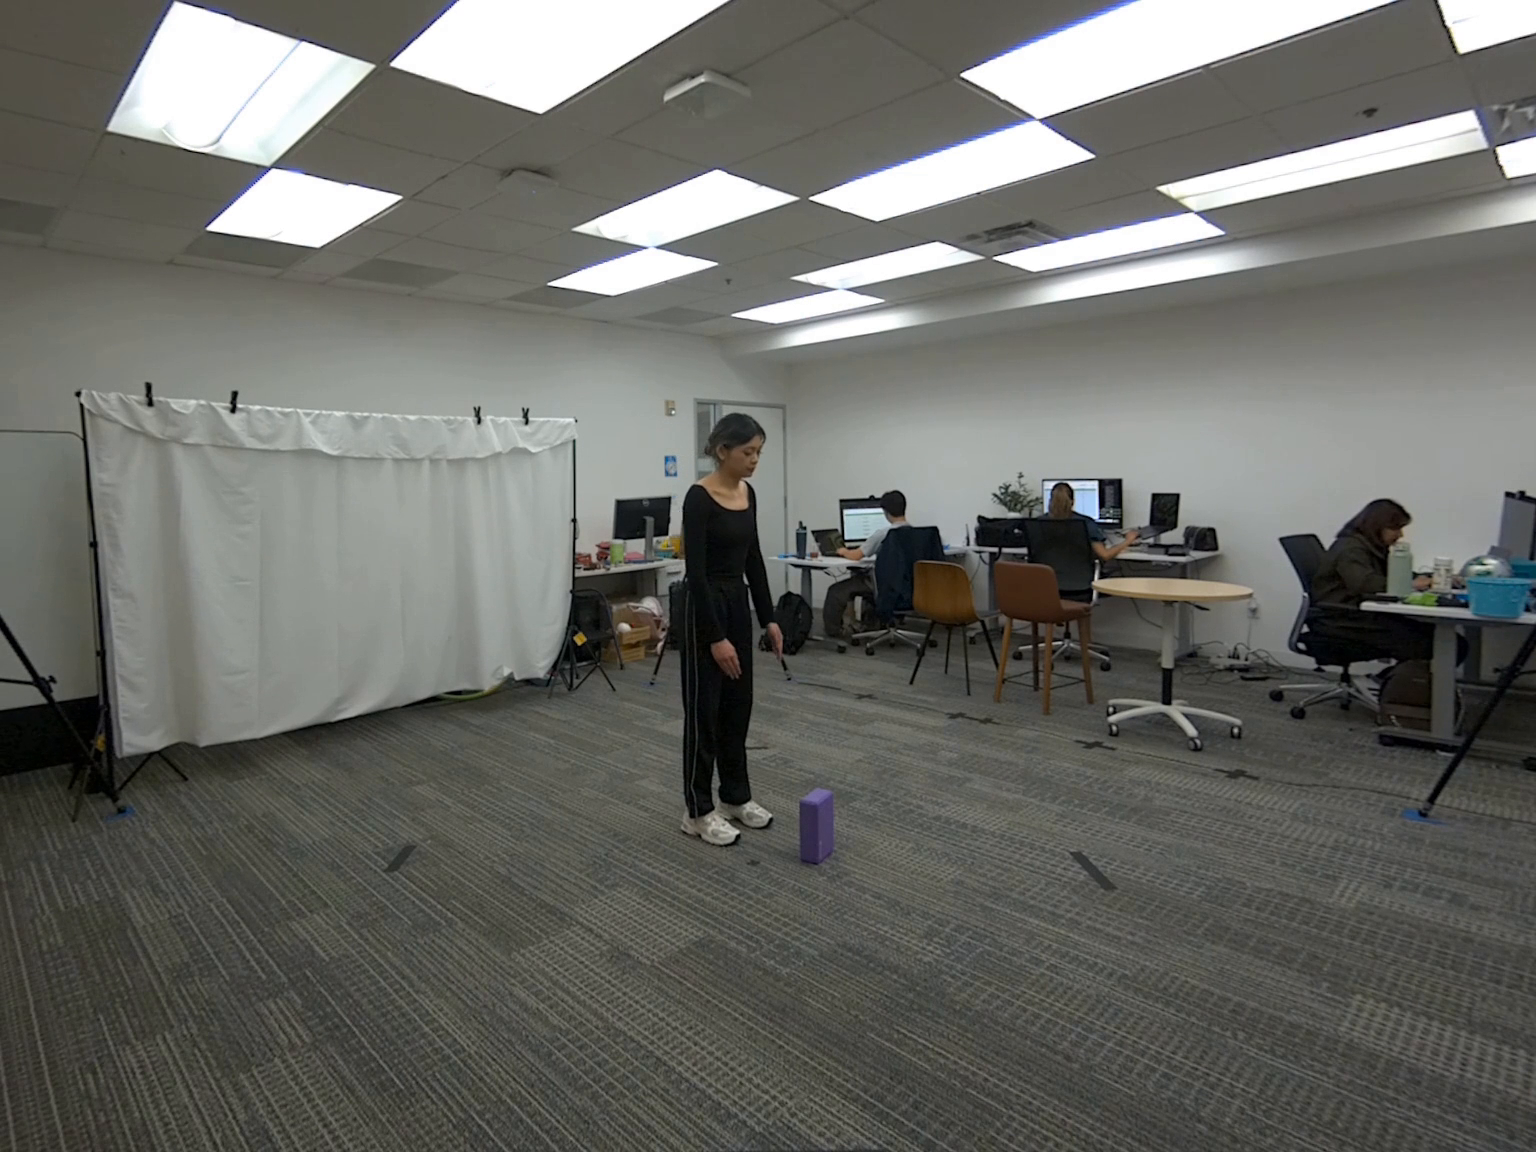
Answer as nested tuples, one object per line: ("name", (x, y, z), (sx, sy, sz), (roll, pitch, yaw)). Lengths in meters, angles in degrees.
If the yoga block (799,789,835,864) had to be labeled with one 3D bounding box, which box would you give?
("yoga block", (0.185, 0.919, 3.148), (0.078, 0.228, 0.146), (2, 4, 29))
